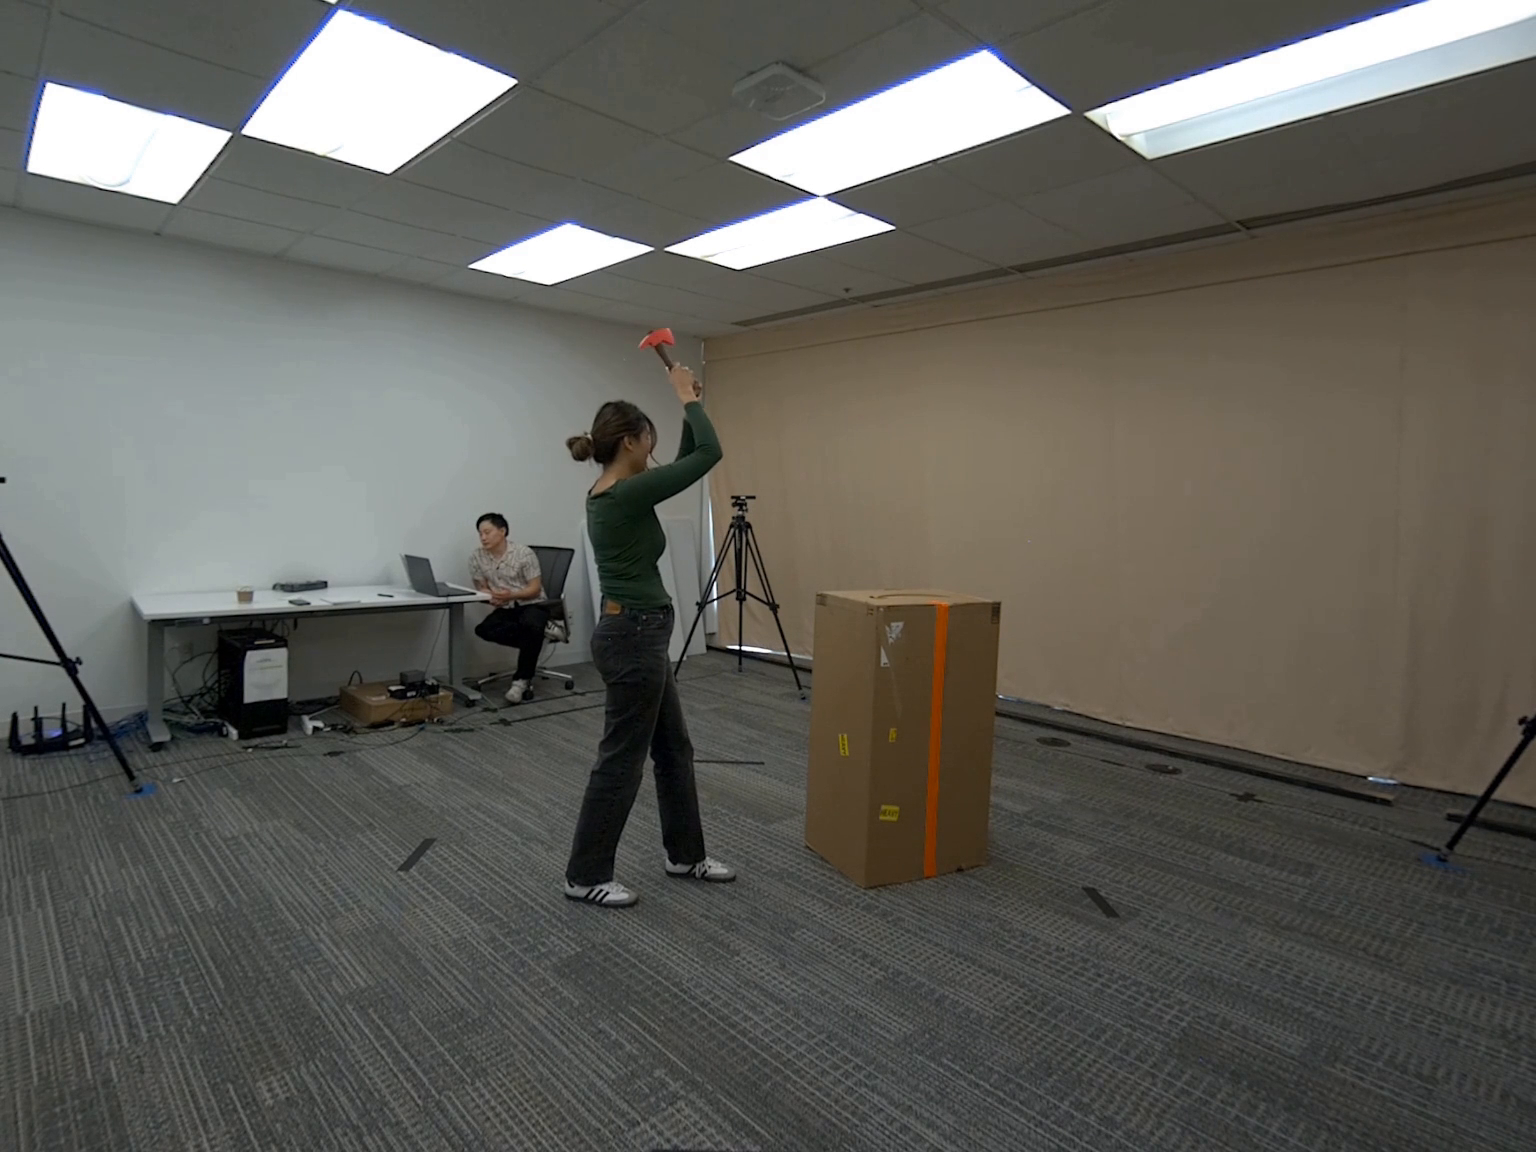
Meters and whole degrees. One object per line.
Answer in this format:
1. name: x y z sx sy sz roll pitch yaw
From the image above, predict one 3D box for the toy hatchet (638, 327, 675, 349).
1. toy hatchet: -0.310 -0.746 2.909 0.264 0.131 0.030 40 -20 -23
